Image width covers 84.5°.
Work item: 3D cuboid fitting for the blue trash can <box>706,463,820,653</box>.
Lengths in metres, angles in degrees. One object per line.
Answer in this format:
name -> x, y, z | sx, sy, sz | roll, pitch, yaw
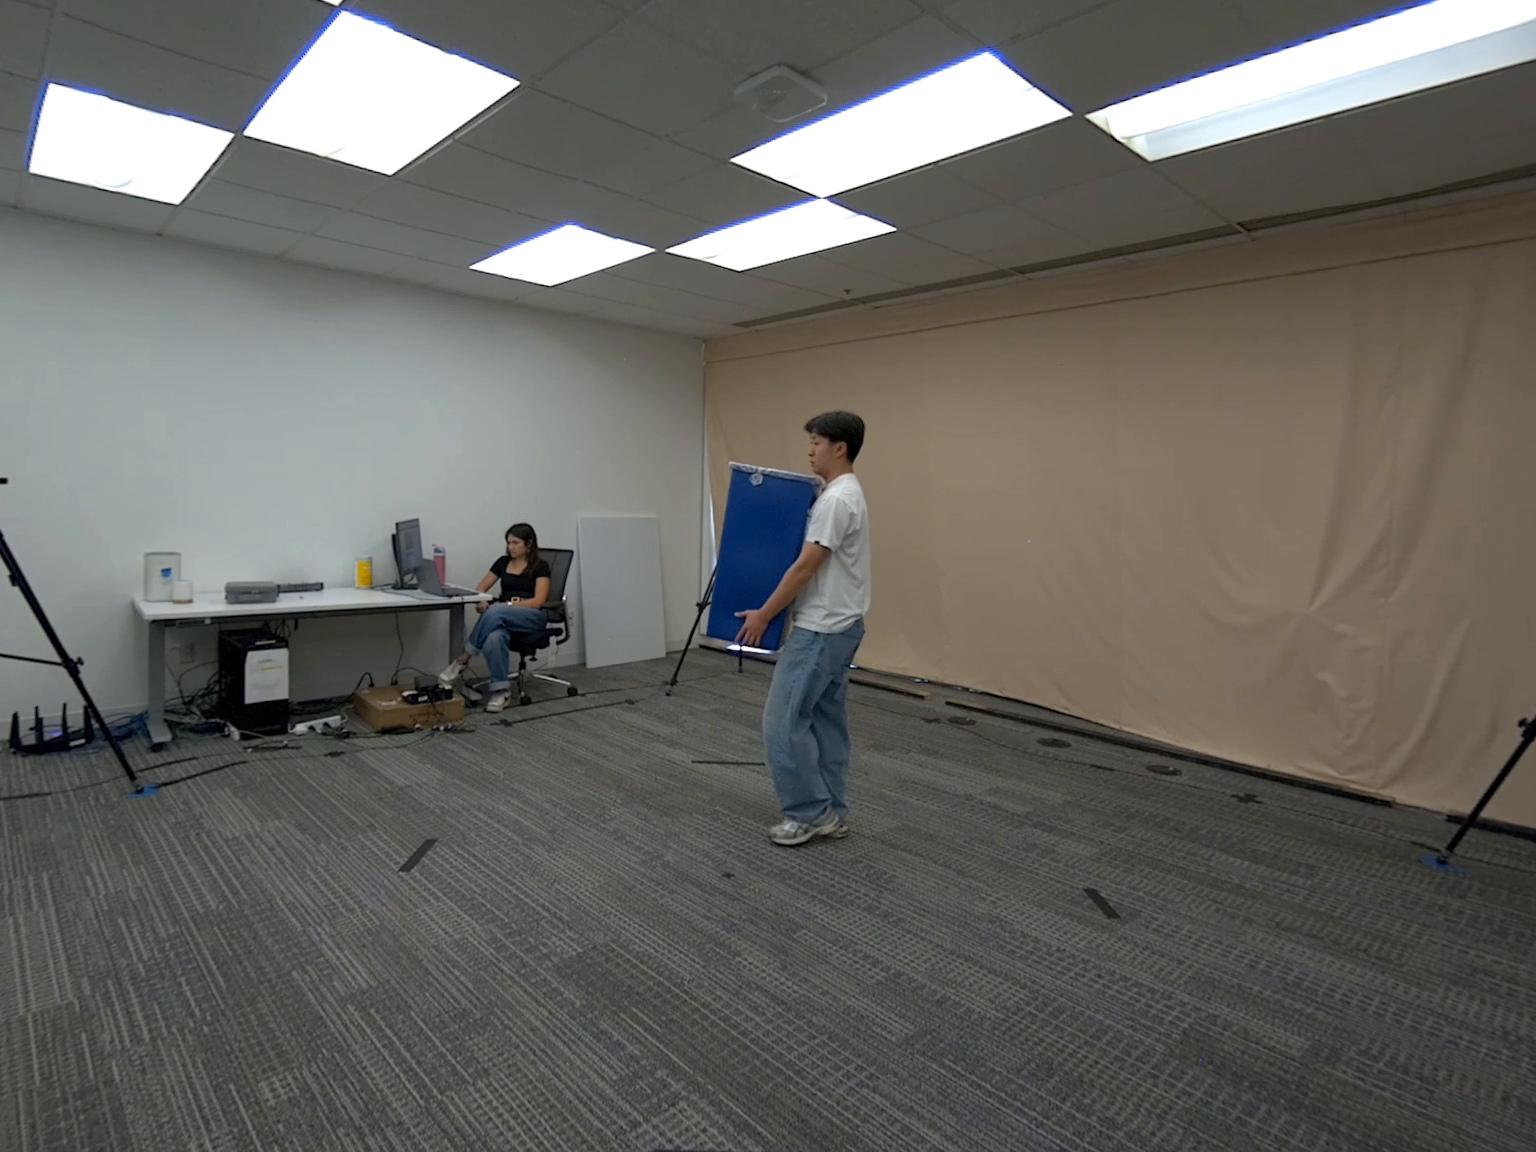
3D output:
blue trash can -> -0.033, -0.087, 3.535 | 0.381, 0.712, 0.371 | 11, 4, 8
